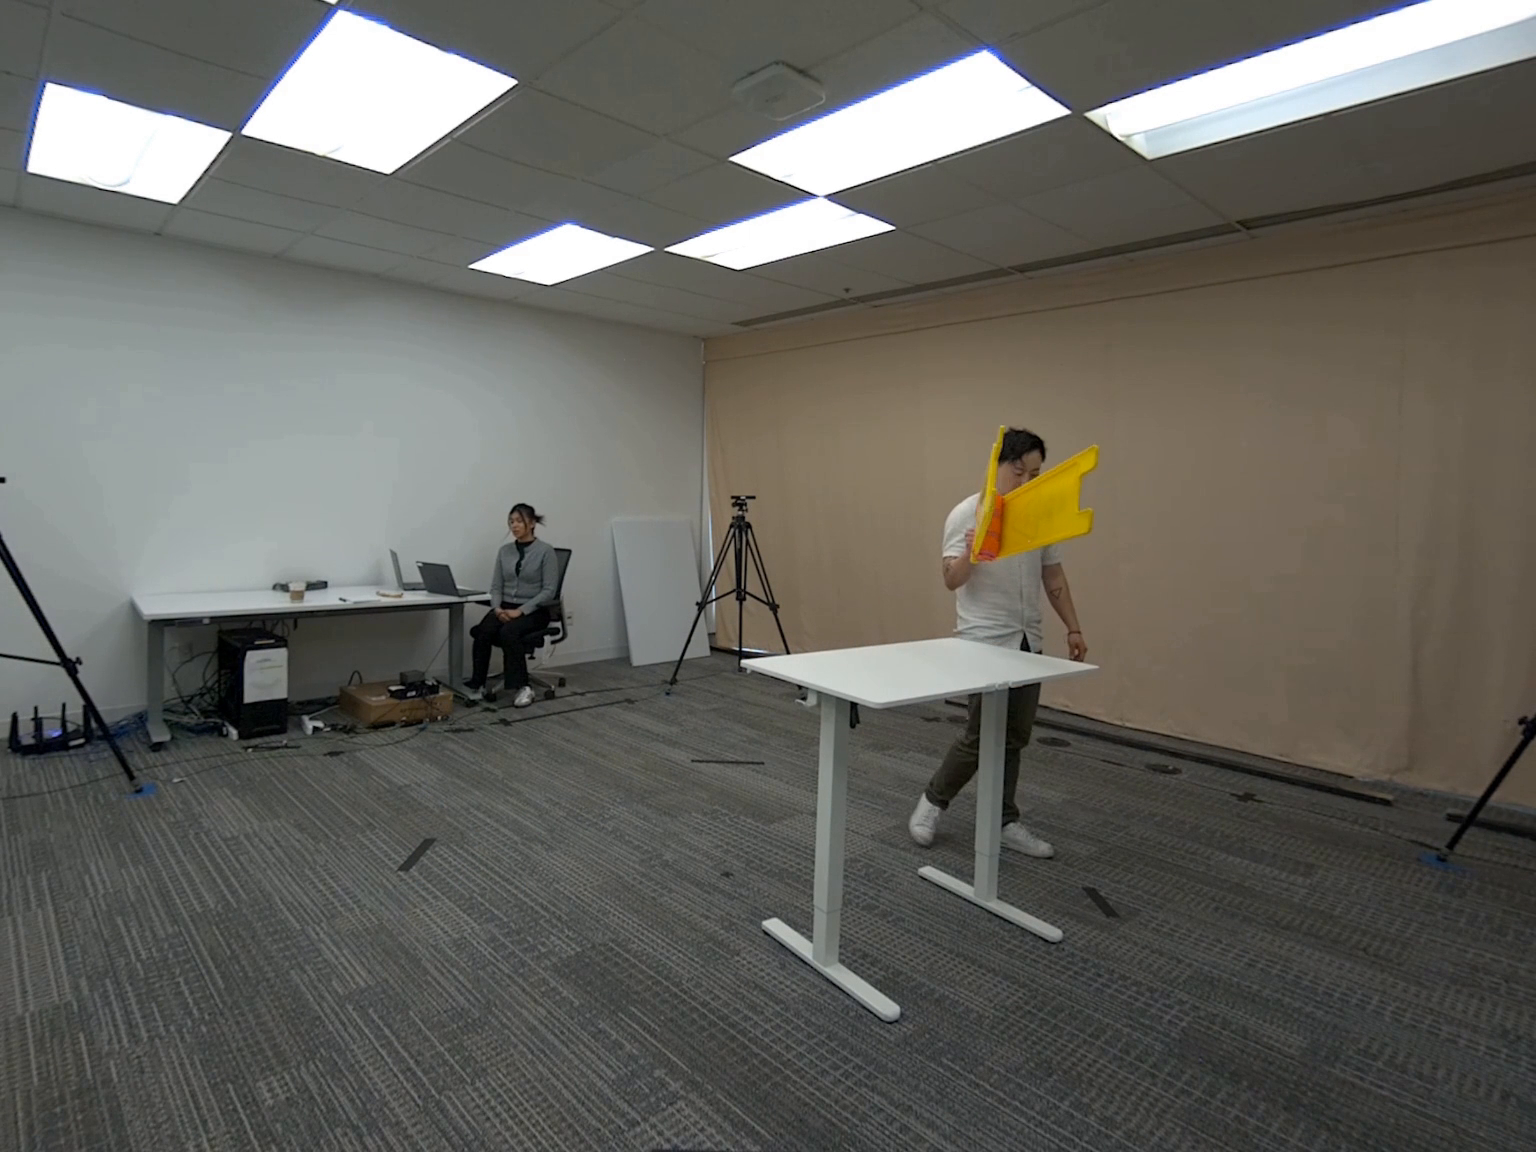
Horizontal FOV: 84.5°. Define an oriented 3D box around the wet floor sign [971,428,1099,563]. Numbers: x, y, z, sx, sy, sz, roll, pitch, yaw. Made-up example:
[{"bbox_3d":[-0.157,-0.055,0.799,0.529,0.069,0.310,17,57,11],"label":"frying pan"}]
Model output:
[{"bbox_3d":[0.771,-0.207,2.768,0.289,0.284,0.641,14,-15,-2],"label":"wet floor sign"}]
